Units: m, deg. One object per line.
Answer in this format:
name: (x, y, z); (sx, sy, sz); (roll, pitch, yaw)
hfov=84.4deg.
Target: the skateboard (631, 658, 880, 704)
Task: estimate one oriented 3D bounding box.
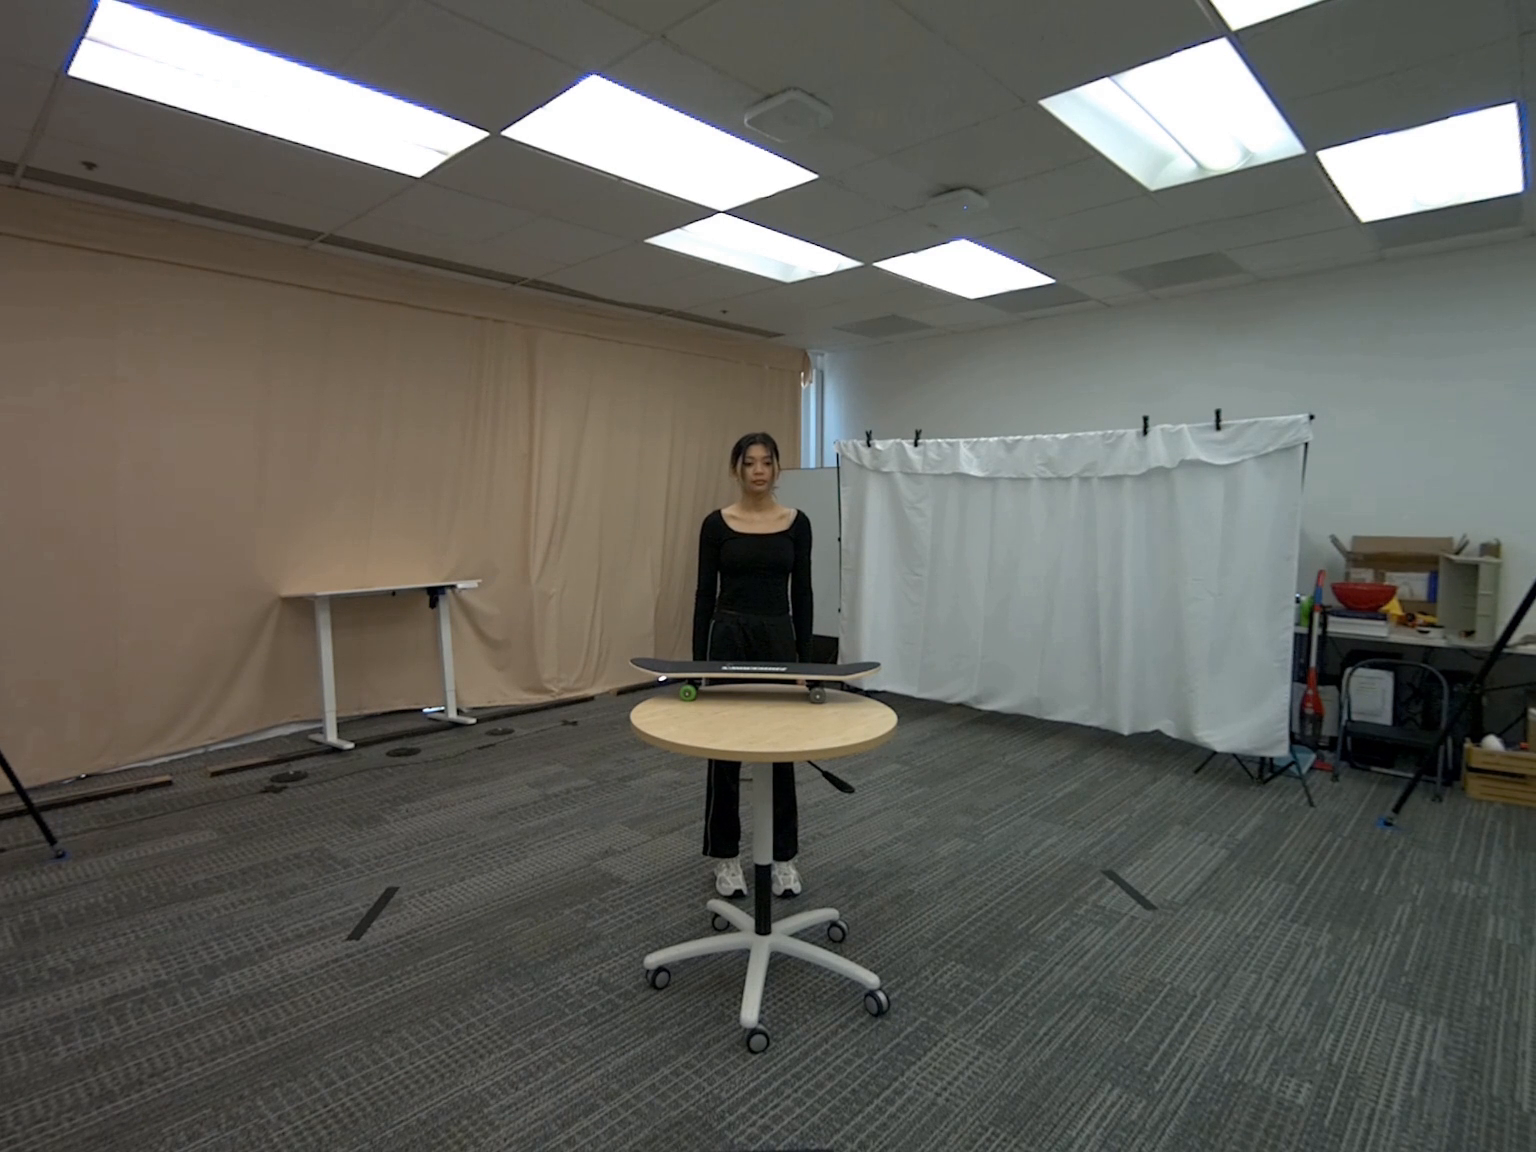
skateboard: (-0.055, 0.328, 2.647); (0.791, 0.110, 0.193); (0, 5, 6)
